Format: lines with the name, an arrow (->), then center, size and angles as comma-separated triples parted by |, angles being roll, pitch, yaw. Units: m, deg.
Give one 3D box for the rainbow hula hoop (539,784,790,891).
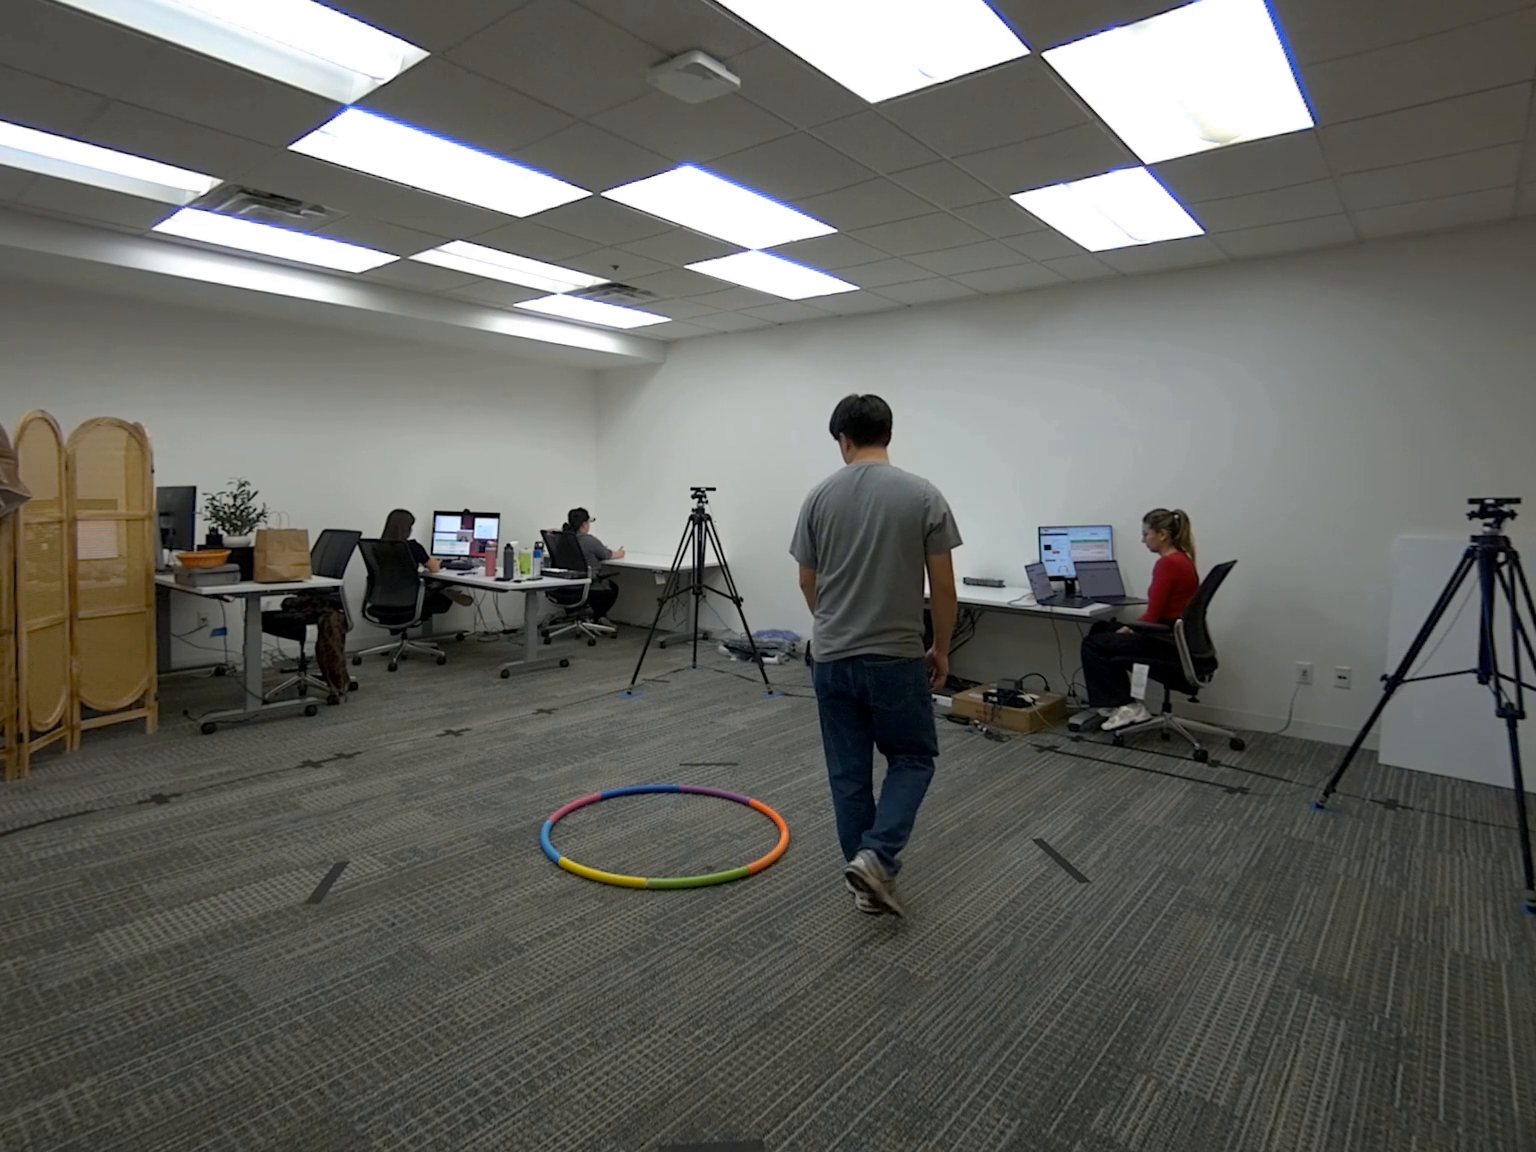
rainbow hula hoop -> -0.422, 1.003, 3.403 | 0.978, 0.035, 0.984 | 1, 6, -2
